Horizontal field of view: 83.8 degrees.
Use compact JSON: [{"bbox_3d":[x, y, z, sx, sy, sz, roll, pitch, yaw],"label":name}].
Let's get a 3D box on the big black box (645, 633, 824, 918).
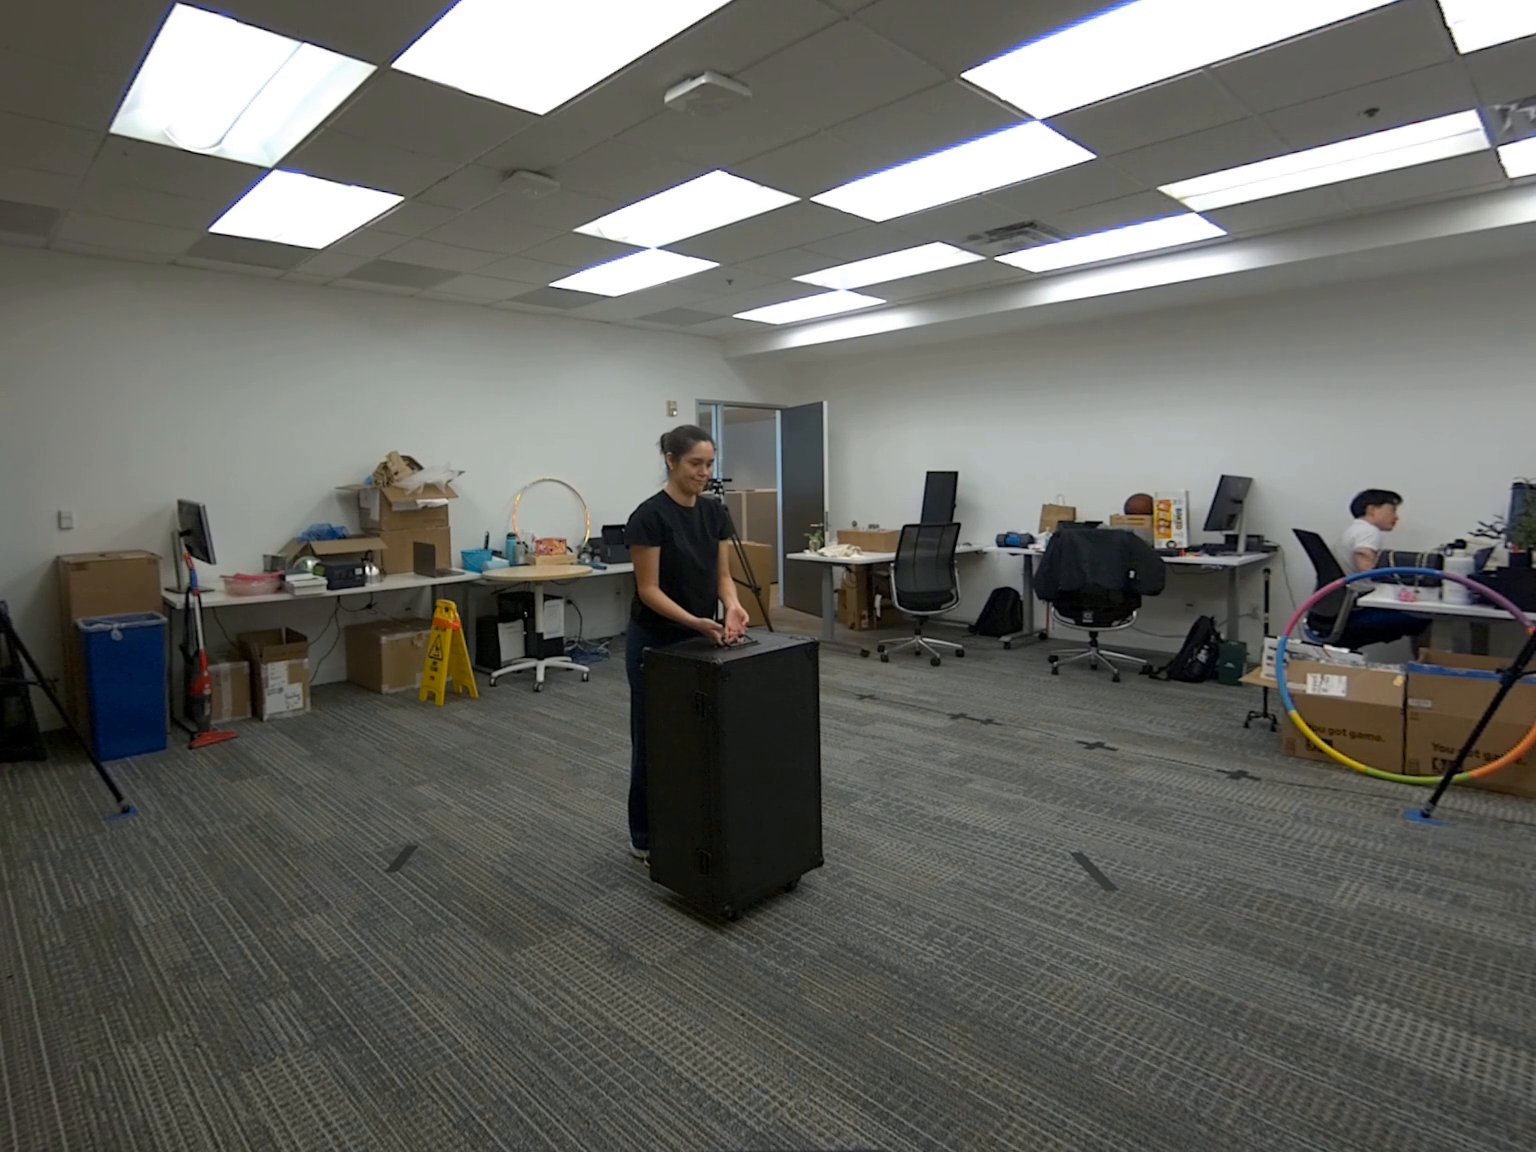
[{"bbox_3d":[-0.119,0.647,2.876,0.408,0.859,0.507,1,4,44],"label":"big black box"}]
